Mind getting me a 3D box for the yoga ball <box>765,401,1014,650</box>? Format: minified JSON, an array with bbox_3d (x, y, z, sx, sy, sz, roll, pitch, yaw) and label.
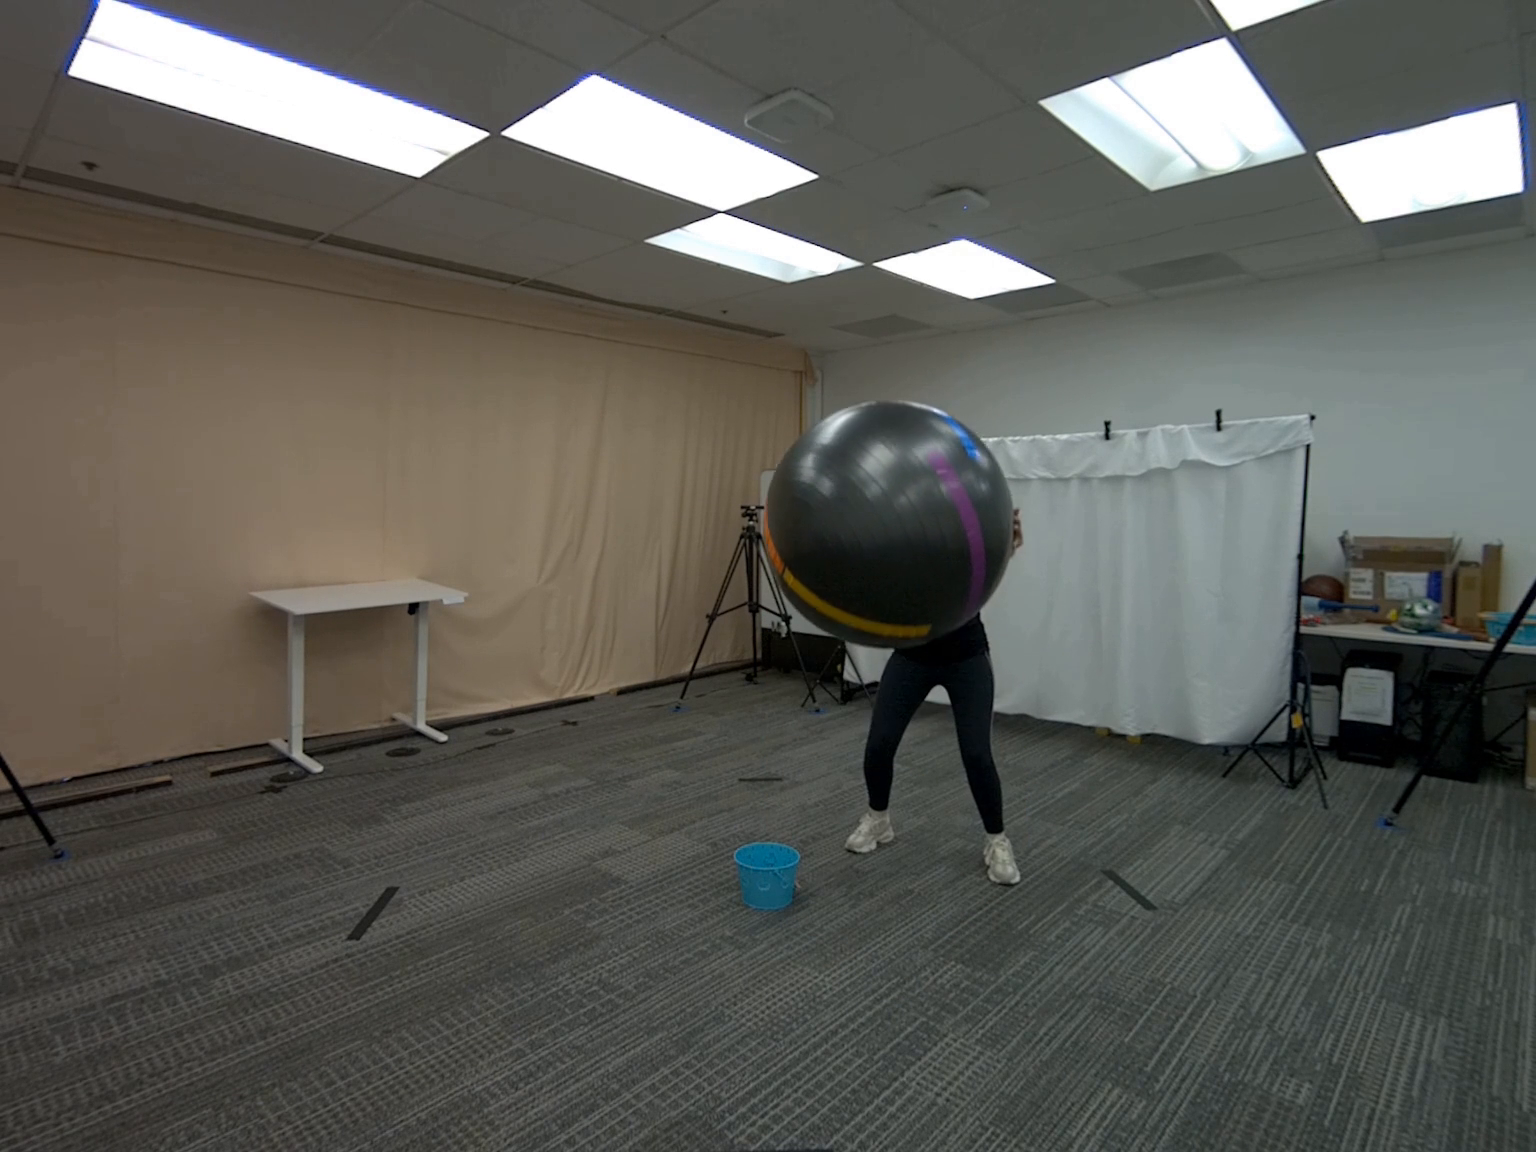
[{"bbox_3d":[0.372,-0.148,2.600,0.757,0.756,0.760,0,4,-2],"label":"yoga ball"}]
